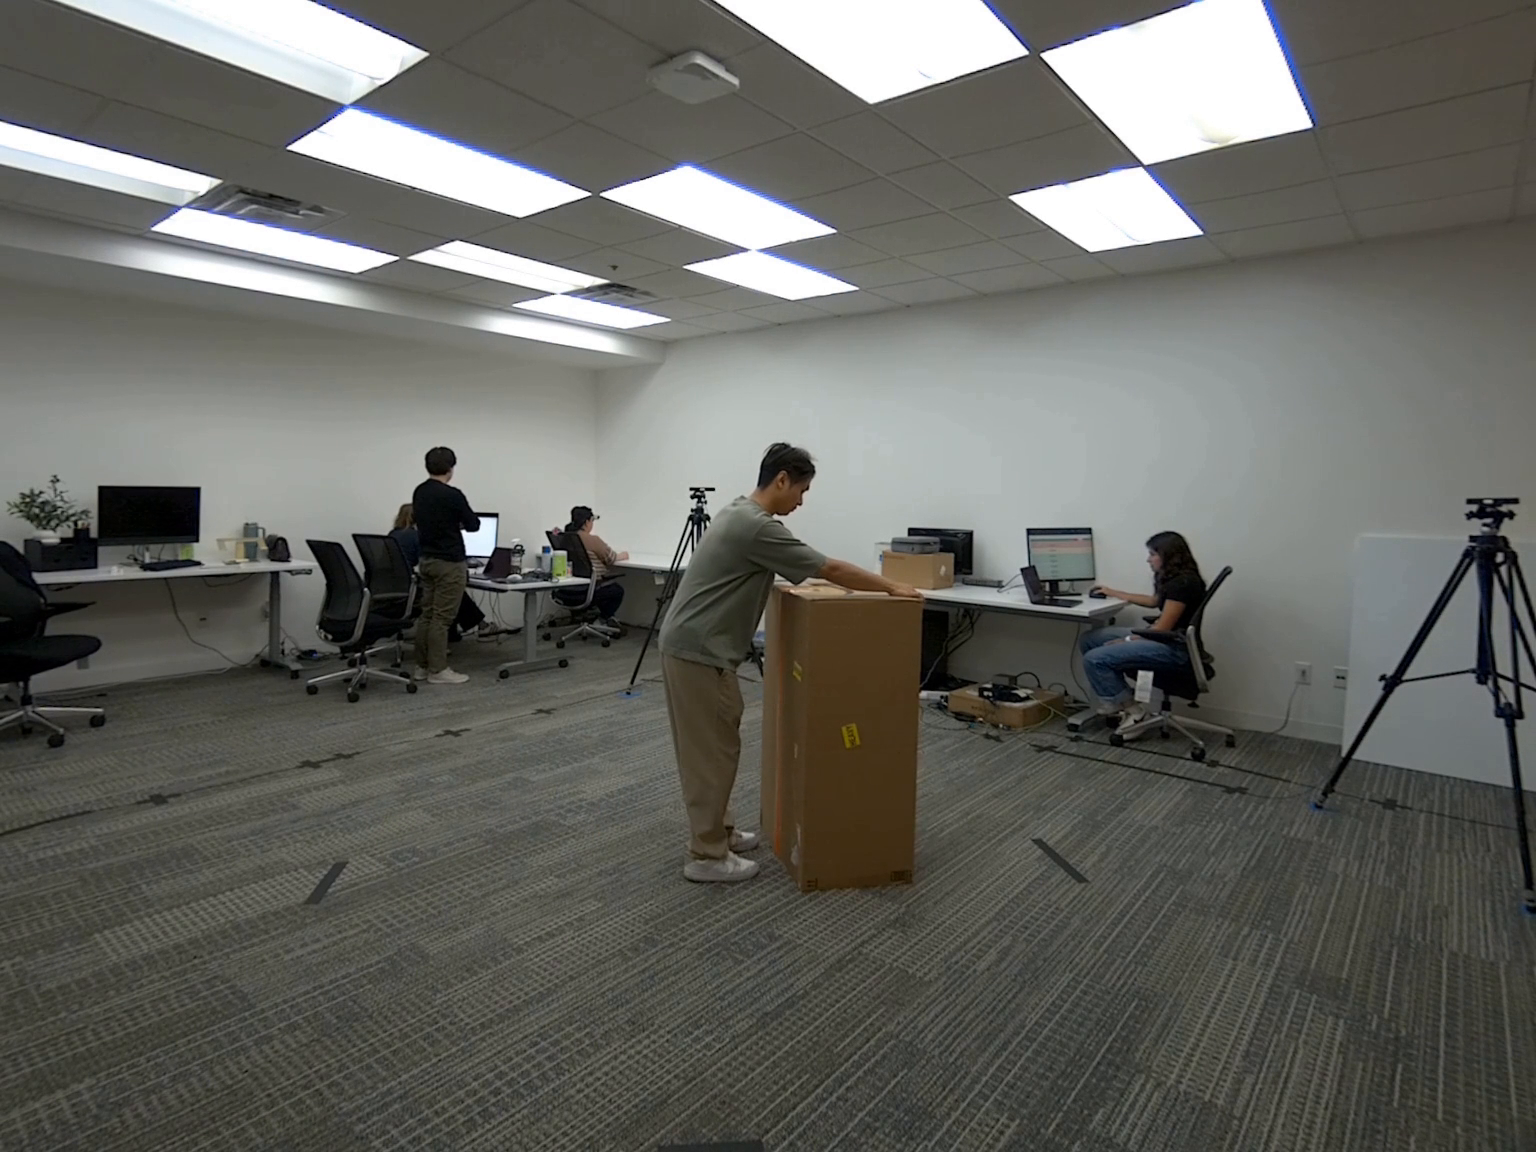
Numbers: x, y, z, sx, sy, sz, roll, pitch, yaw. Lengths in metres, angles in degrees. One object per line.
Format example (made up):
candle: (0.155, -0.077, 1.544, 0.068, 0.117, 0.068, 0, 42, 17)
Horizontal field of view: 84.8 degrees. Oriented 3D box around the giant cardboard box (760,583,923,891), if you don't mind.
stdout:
giant cardboard box: (0.246, 0.555, 3.235, 0.420, 1.023, 0.588, 1, 3, -15)
